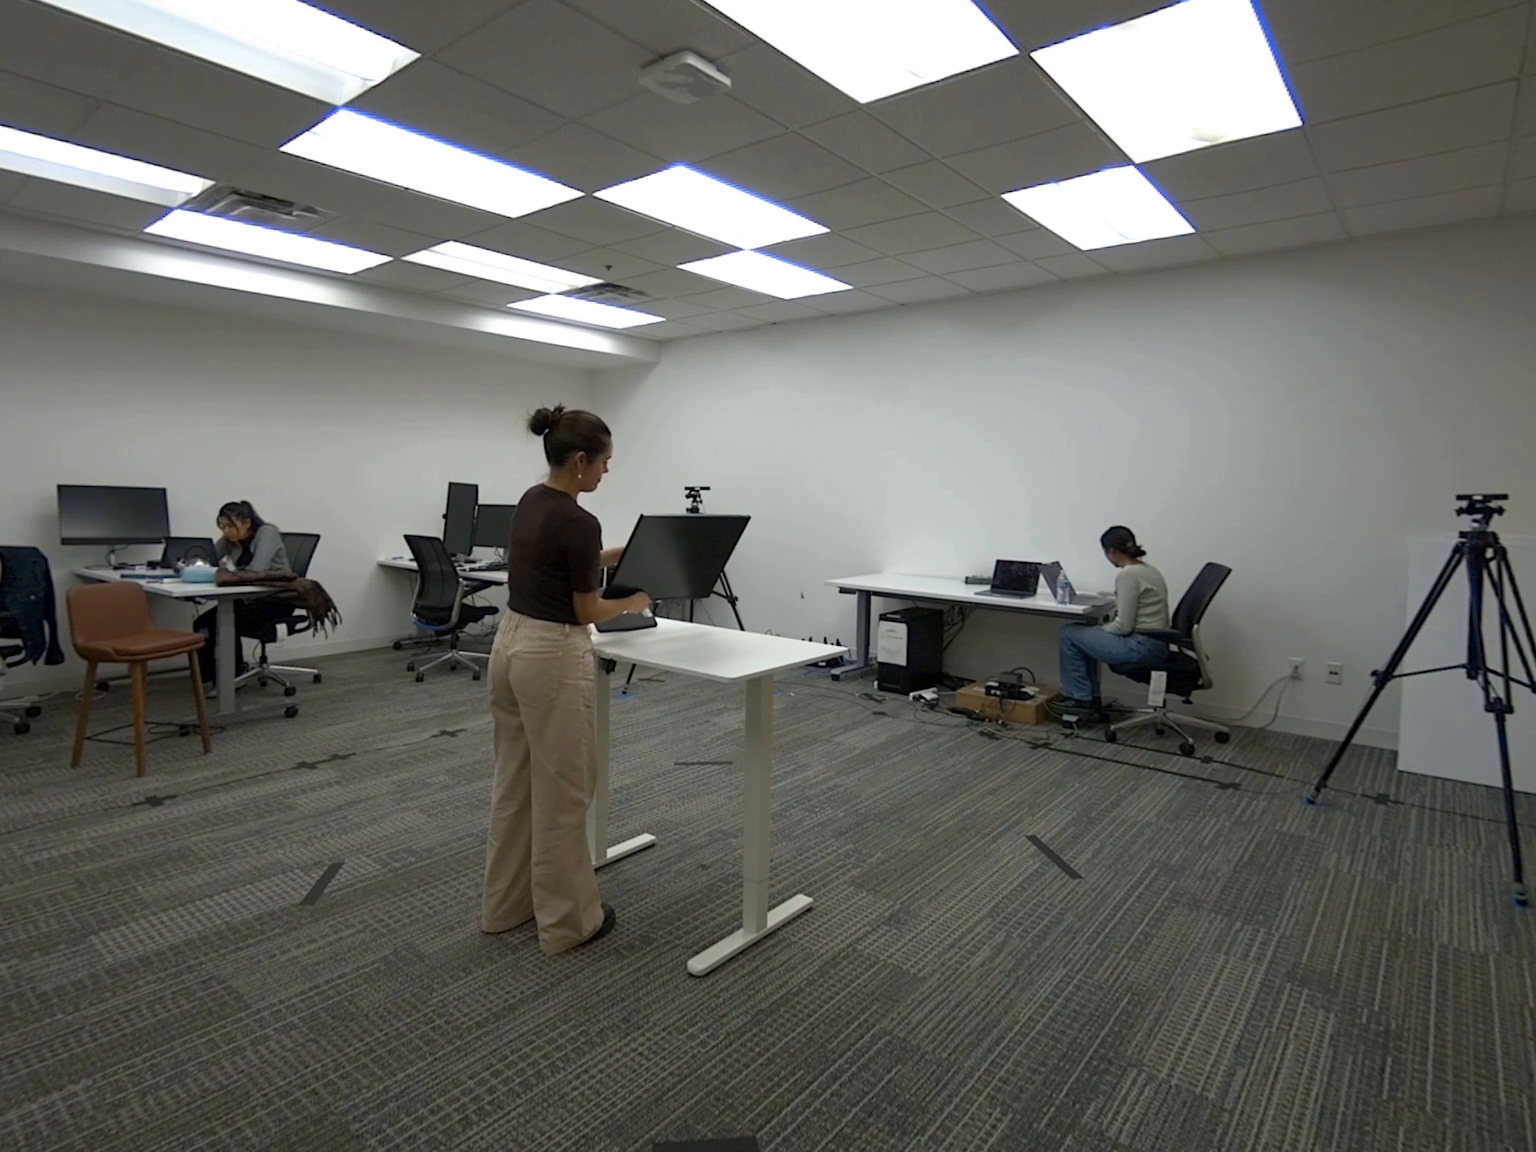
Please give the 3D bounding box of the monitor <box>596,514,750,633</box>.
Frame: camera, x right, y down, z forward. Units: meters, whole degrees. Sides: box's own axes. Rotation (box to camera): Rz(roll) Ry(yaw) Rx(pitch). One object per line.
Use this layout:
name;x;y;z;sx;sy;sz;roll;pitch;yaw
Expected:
monitor;-0.389;-0.025;2.878;0.523;0.192;0.524;-45;-22;31
